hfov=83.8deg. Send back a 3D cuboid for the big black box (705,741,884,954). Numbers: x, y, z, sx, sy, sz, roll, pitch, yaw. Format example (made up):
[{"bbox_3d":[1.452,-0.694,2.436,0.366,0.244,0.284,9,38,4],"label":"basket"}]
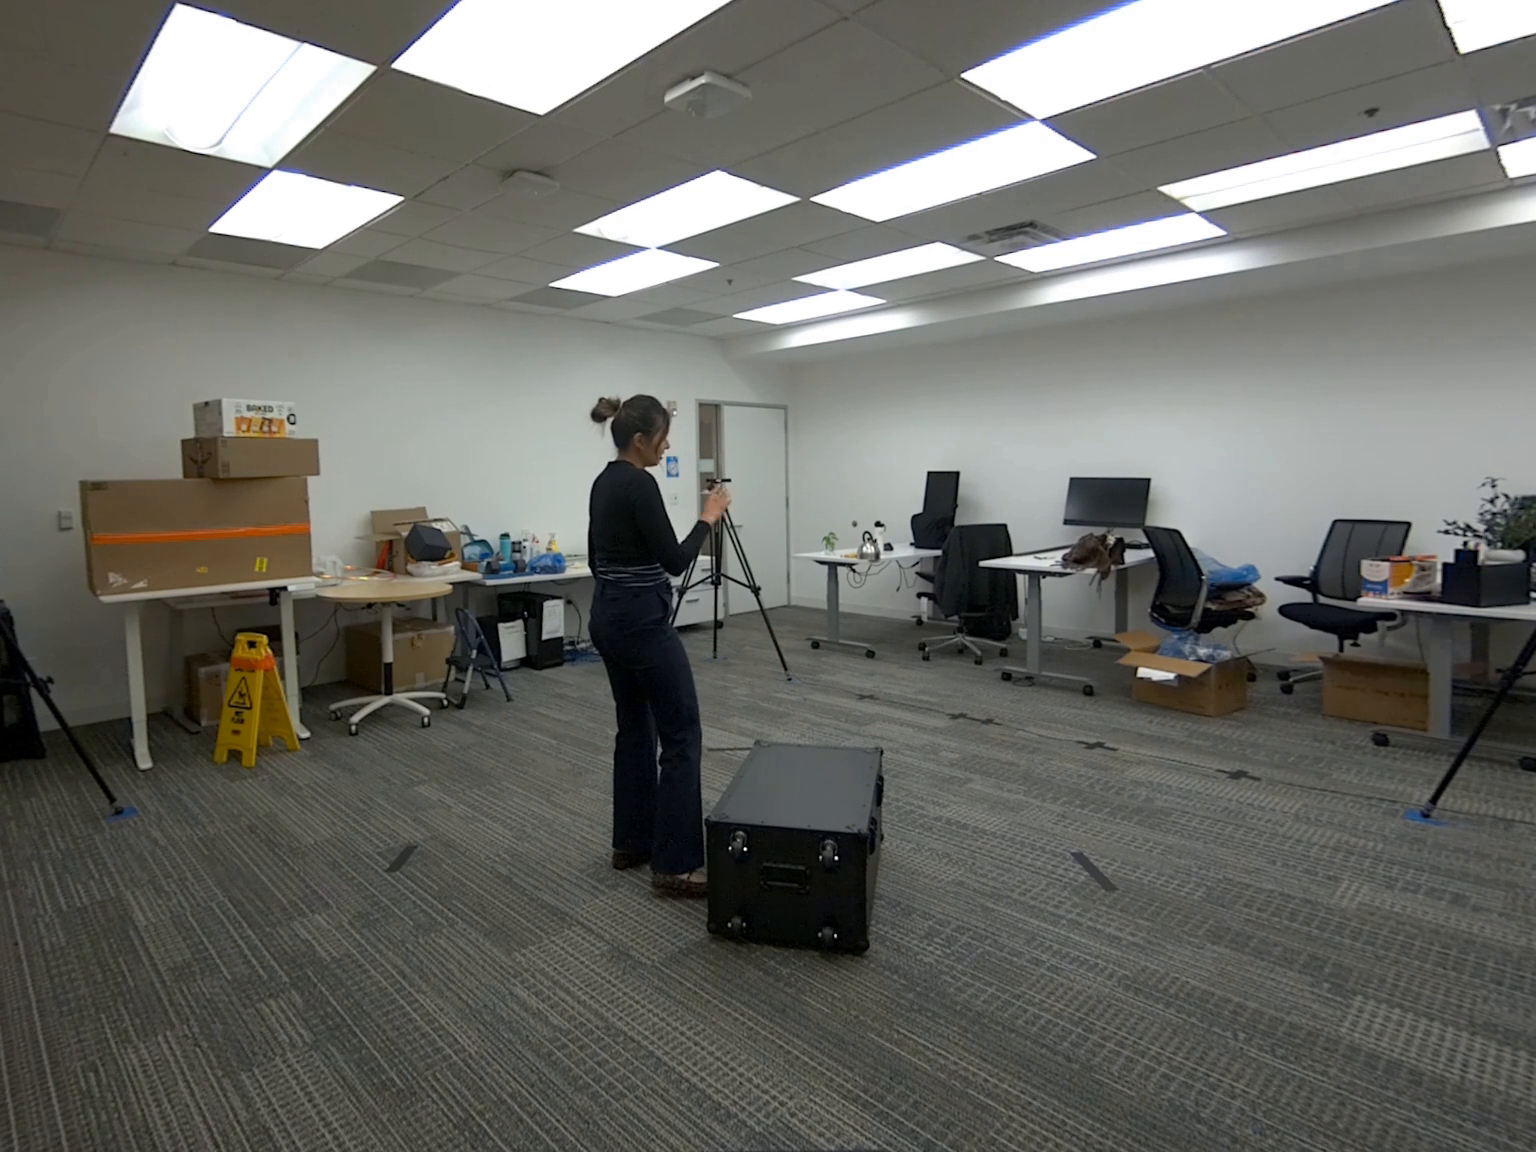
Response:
[{"bbox_3d":[0.112,0.873,2.865,0.528,0.395,0.854,0,6,12],"label":"big black box"}]
